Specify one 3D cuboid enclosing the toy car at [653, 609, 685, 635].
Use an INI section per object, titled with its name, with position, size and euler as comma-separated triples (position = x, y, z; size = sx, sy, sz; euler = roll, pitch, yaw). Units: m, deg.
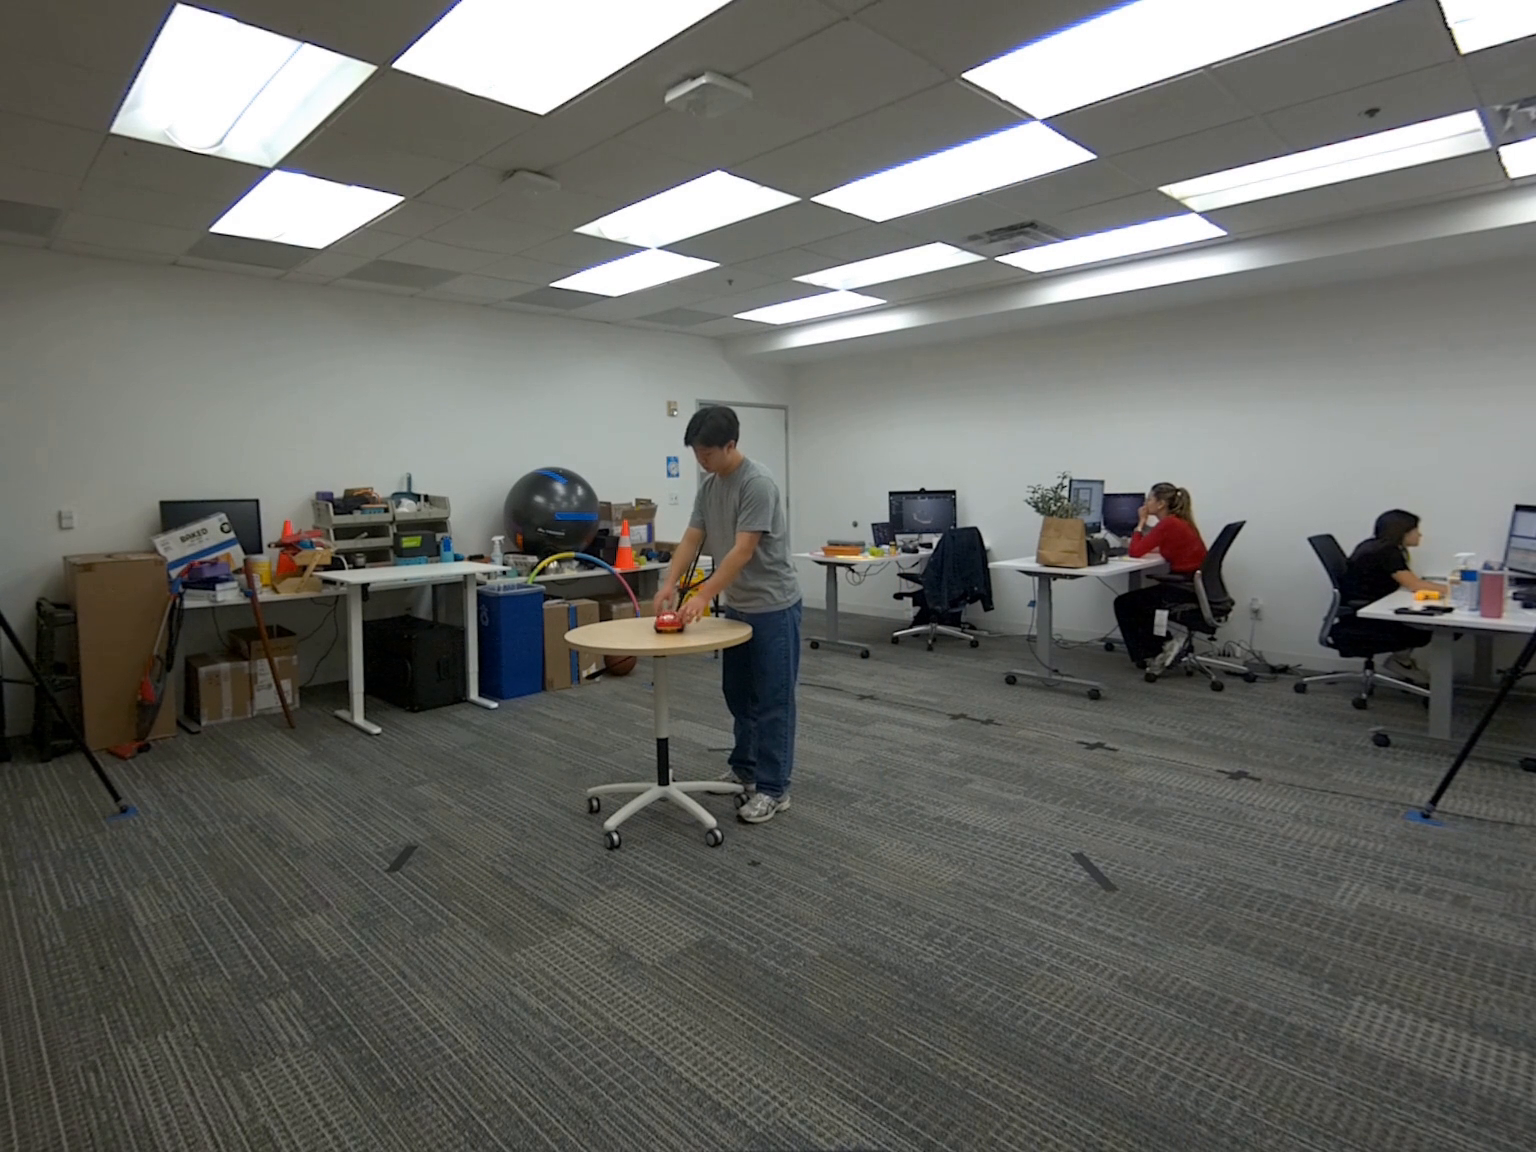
[toy car]
position = -0.404, 0.192, 3.516
size = 0.130, 0.084, 0.253
euler = -1, -7, -2
